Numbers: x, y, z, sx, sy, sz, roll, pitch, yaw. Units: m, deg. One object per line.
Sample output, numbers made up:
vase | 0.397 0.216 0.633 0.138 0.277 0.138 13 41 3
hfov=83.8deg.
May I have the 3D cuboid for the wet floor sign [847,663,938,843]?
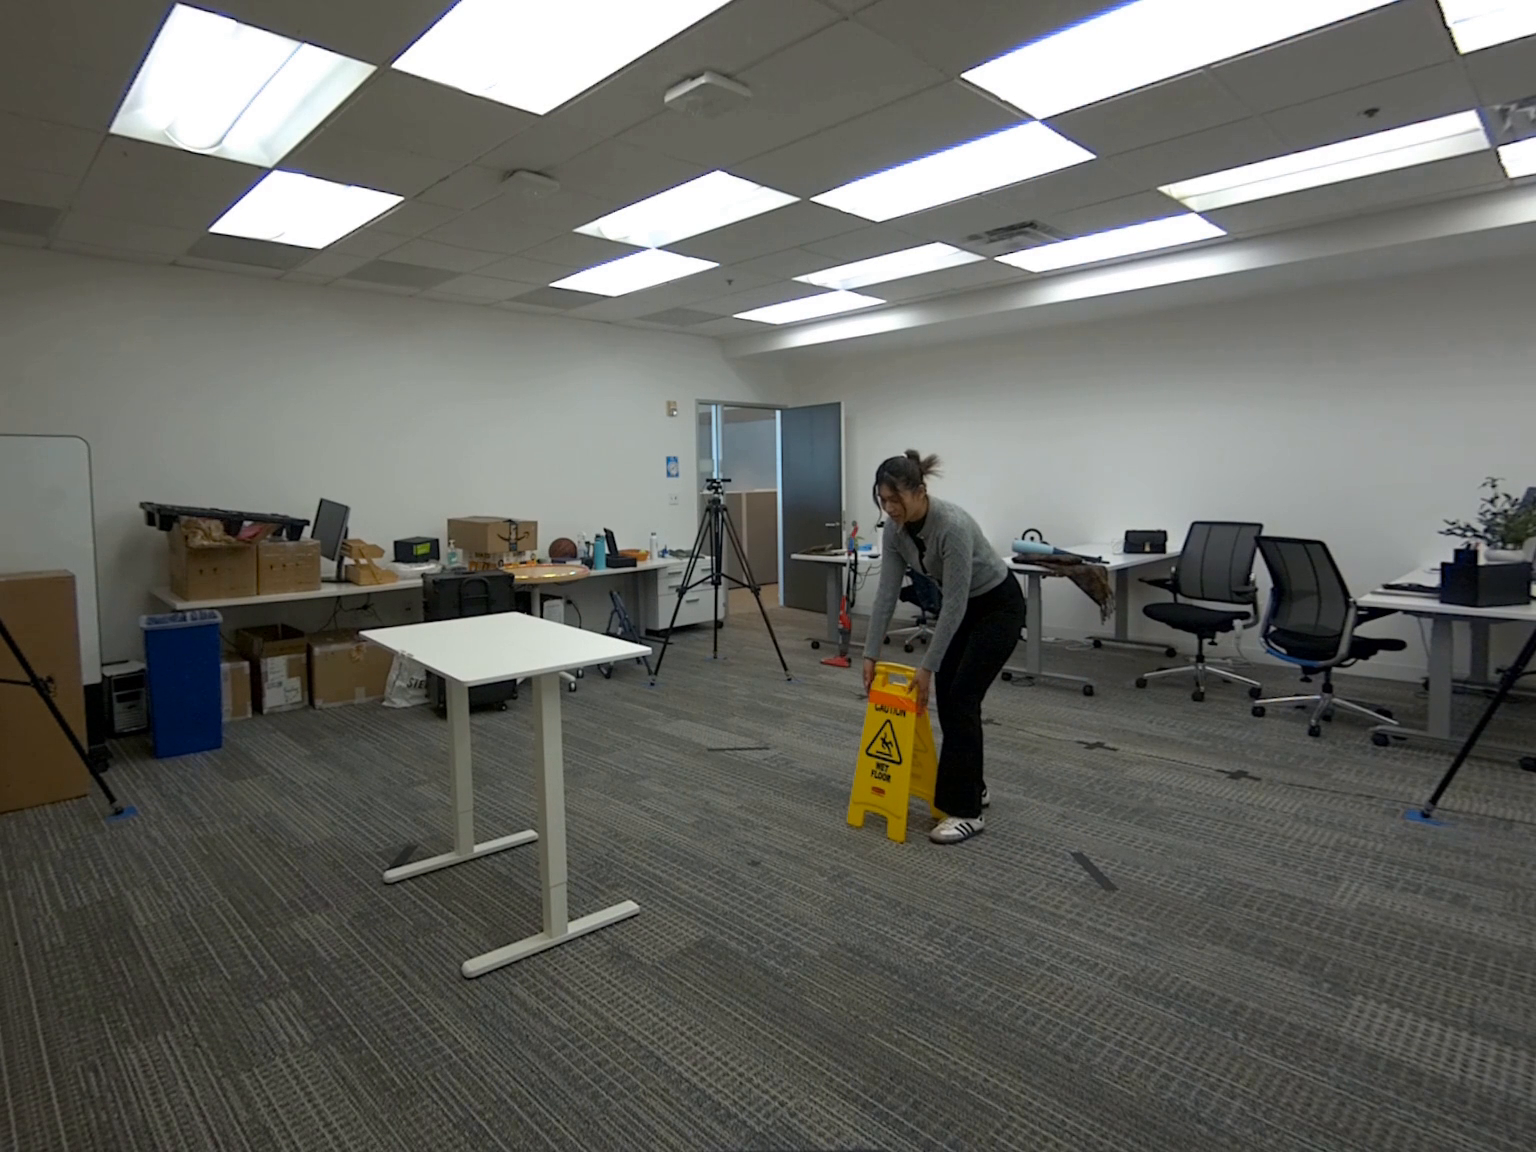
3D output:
wet floor sign | 0.520 0.676 3.440 0.282 0.644 0.291 -3 5 -44
